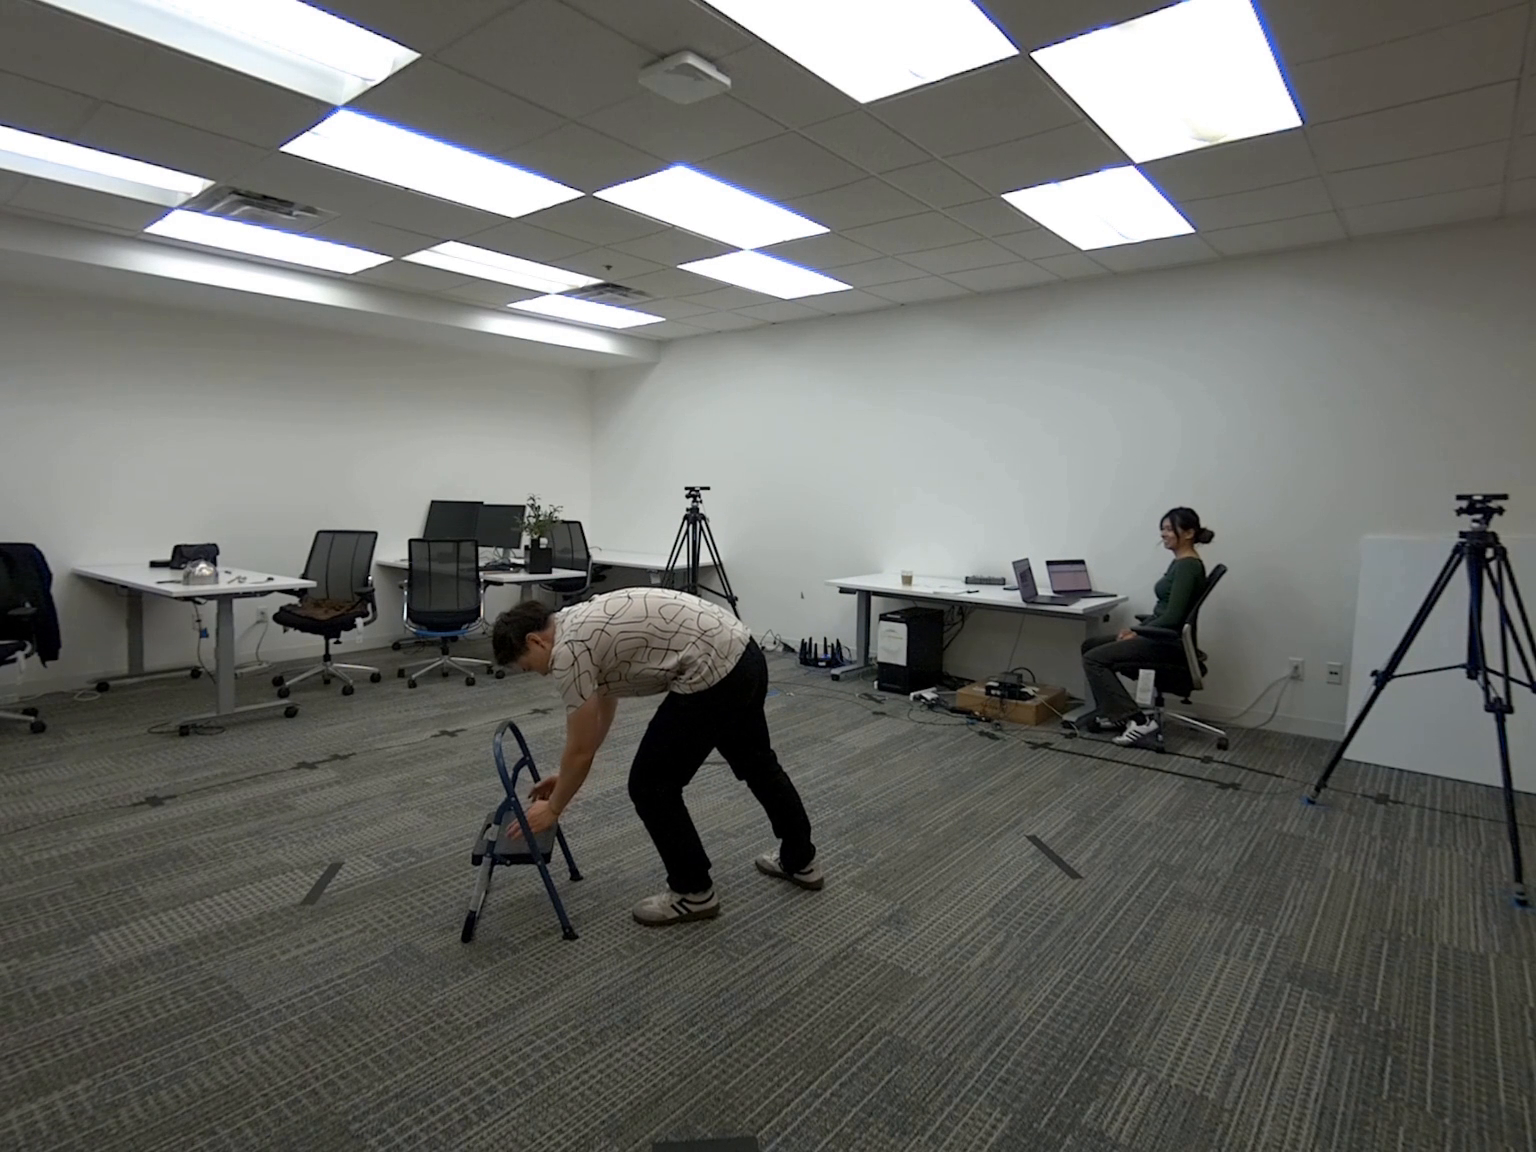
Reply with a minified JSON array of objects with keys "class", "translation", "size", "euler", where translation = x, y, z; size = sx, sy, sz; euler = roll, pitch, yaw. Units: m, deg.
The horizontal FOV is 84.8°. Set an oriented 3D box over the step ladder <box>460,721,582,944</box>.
[{"class":"step ladder","translation":[-0.804,0.788,2.779],"size":[0.346,0.604,0.436],"euler":[0,3,-9]}]
